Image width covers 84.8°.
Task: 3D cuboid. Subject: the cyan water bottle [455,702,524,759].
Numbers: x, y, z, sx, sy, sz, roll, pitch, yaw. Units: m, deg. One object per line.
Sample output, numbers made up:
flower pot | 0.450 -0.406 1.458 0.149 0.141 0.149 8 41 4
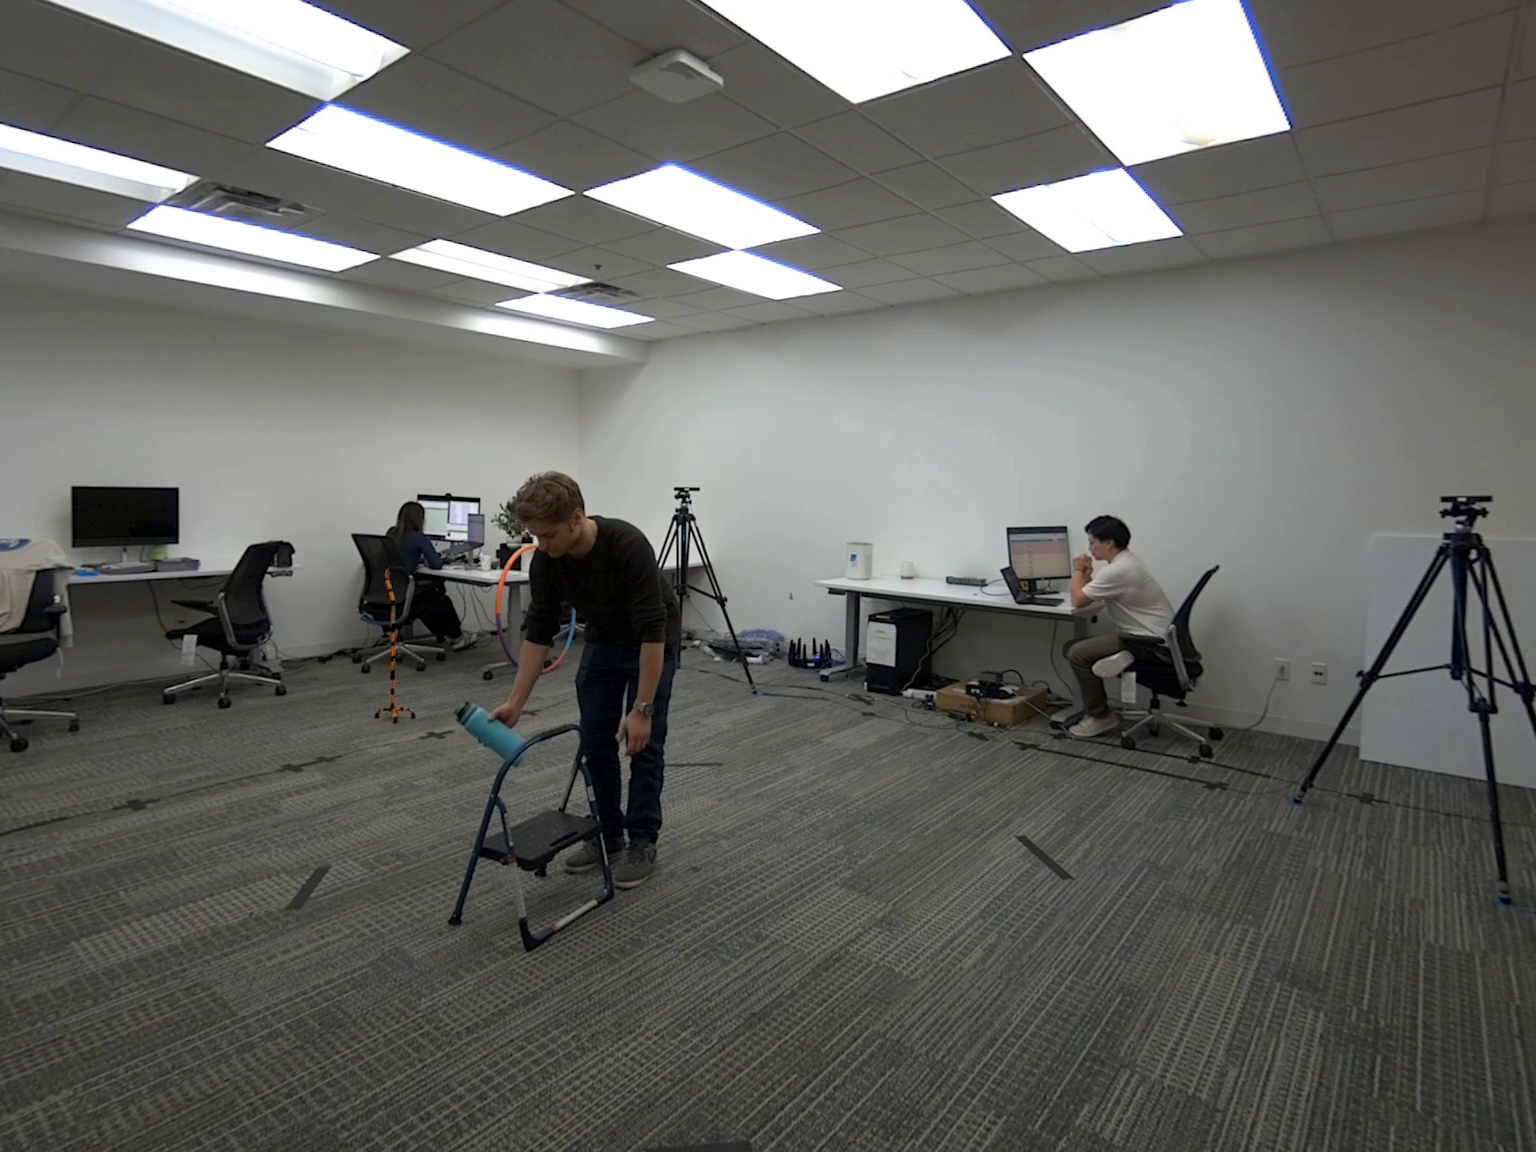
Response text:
cyan water bottle | -0.949 0.525 2.862 0.284 0.092 0.092 37 4 1
